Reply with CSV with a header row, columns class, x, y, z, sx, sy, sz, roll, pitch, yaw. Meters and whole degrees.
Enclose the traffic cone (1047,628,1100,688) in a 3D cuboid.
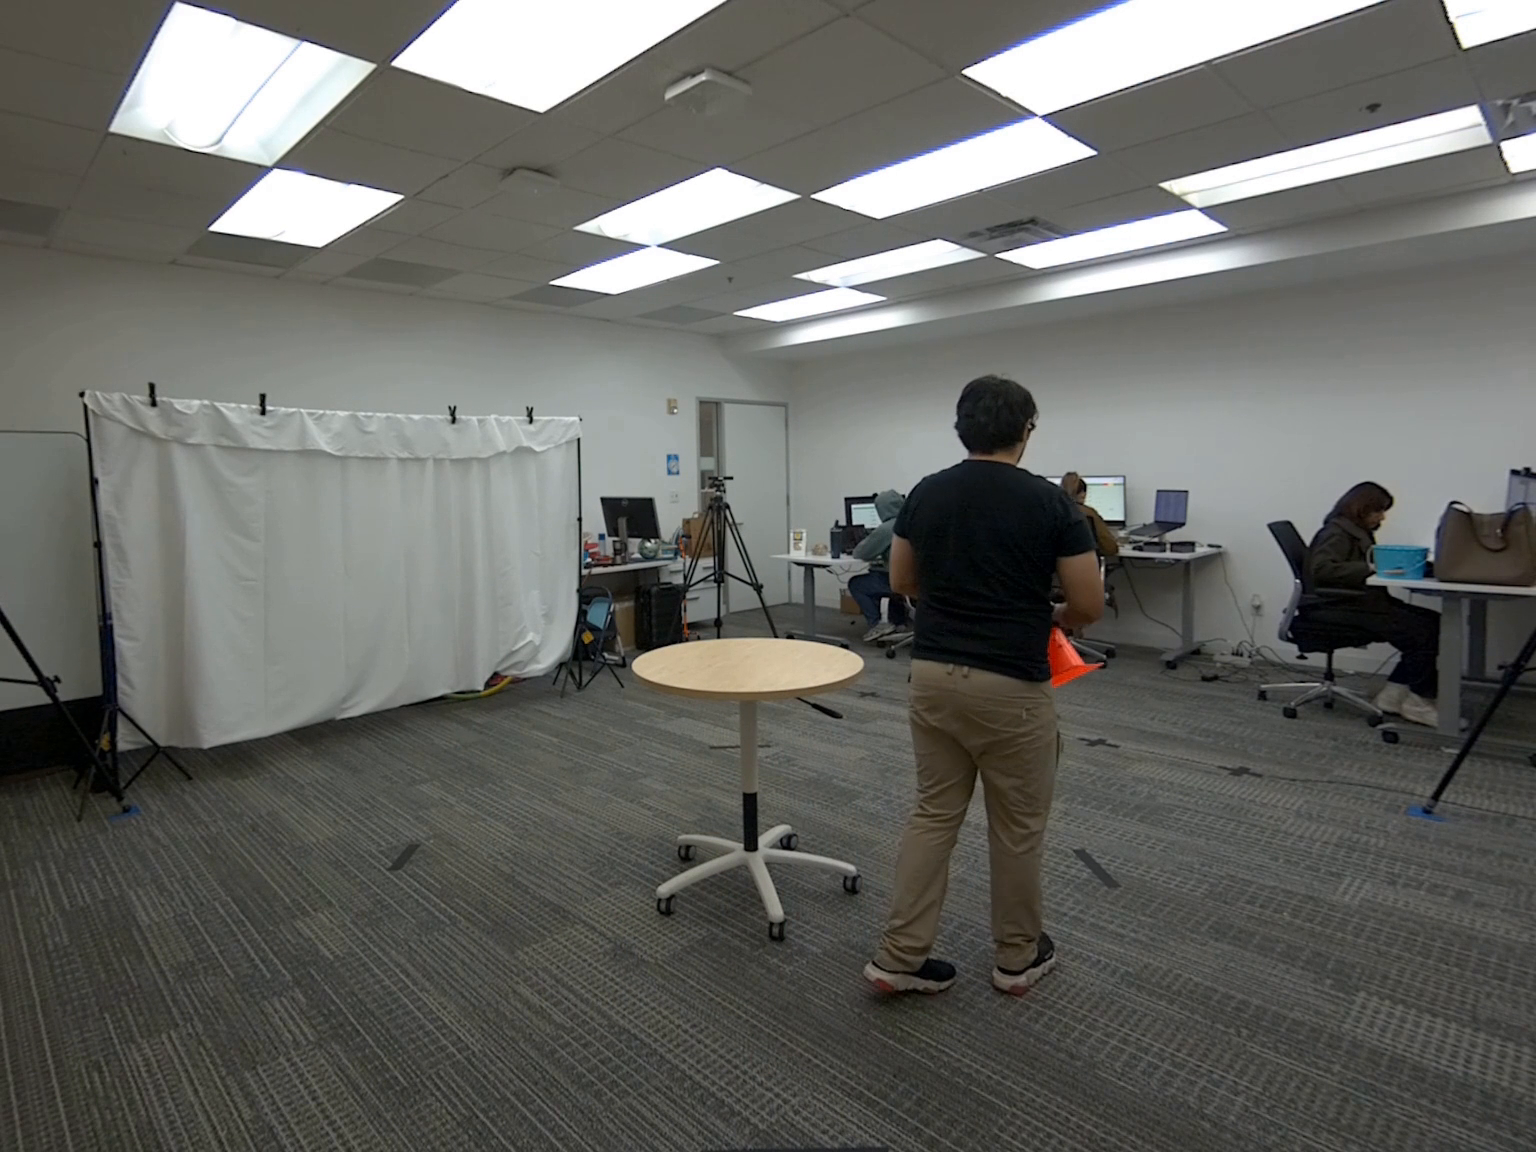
class,x,y,z,sx,sy,sz,roll,pitch,yaw
traffic cone,0.790,0.132,2.493,0.199,0.392,0.205,0,-24,-41
